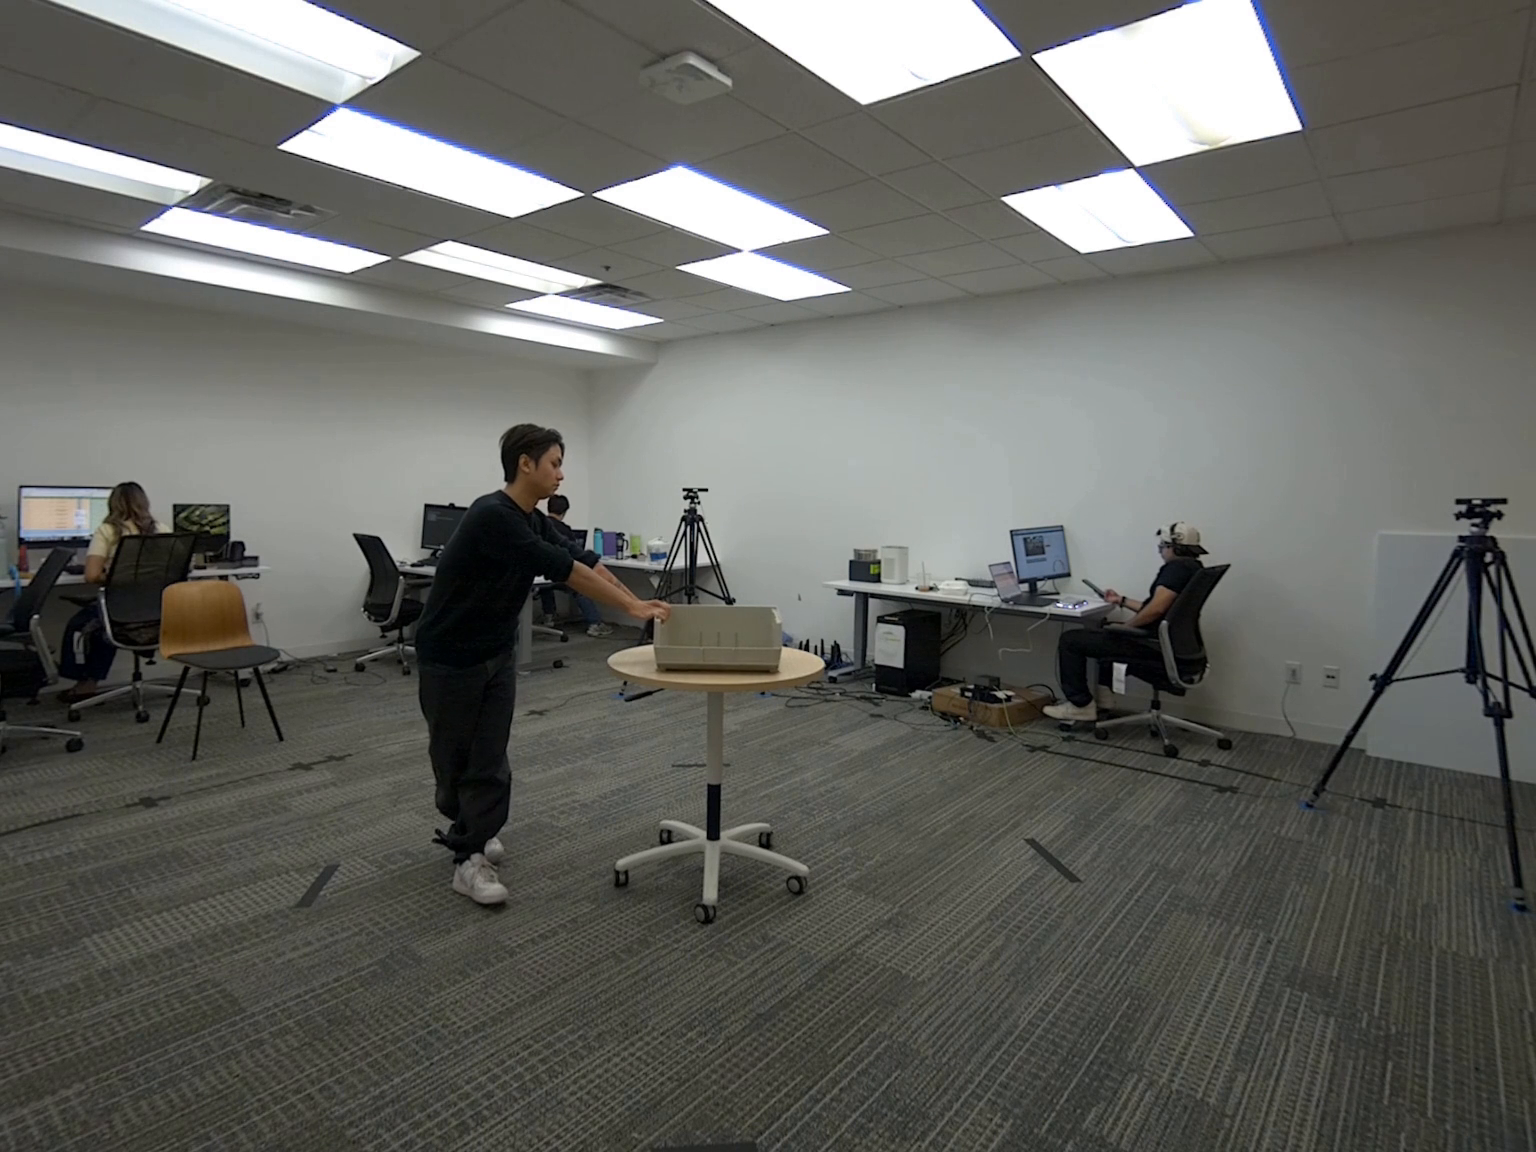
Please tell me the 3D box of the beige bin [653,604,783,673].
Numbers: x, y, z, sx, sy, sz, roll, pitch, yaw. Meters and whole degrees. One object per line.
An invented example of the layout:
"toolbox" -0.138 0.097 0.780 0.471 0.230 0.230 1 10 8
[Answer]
"beige bin" -0.181 0.212 2.935 0.422 0.189 0.378 1 3 -1
